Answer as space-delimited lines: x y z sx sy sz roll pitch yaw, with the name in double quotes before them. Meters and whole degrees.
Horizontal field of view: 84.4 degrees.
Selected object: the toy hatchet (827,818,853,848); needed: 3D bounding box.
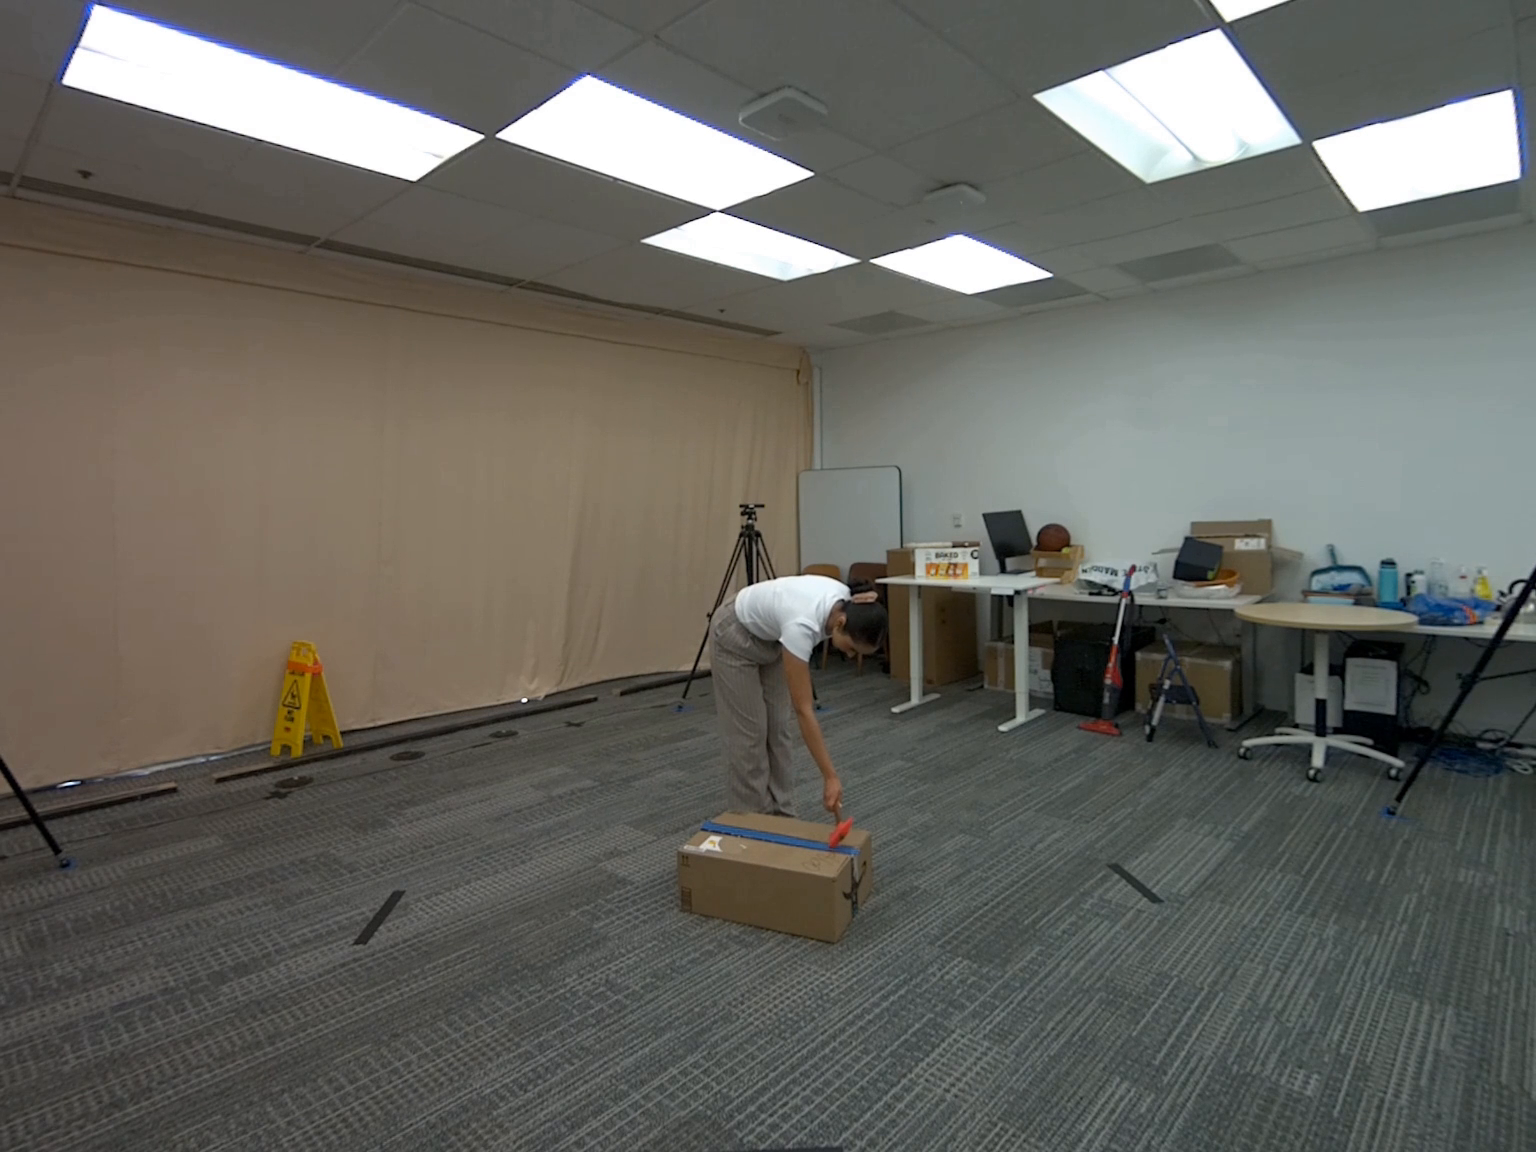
"toy hatchet" 0.236 0.858 2.945 0.029 0.131 0.271 28 -1 -6
